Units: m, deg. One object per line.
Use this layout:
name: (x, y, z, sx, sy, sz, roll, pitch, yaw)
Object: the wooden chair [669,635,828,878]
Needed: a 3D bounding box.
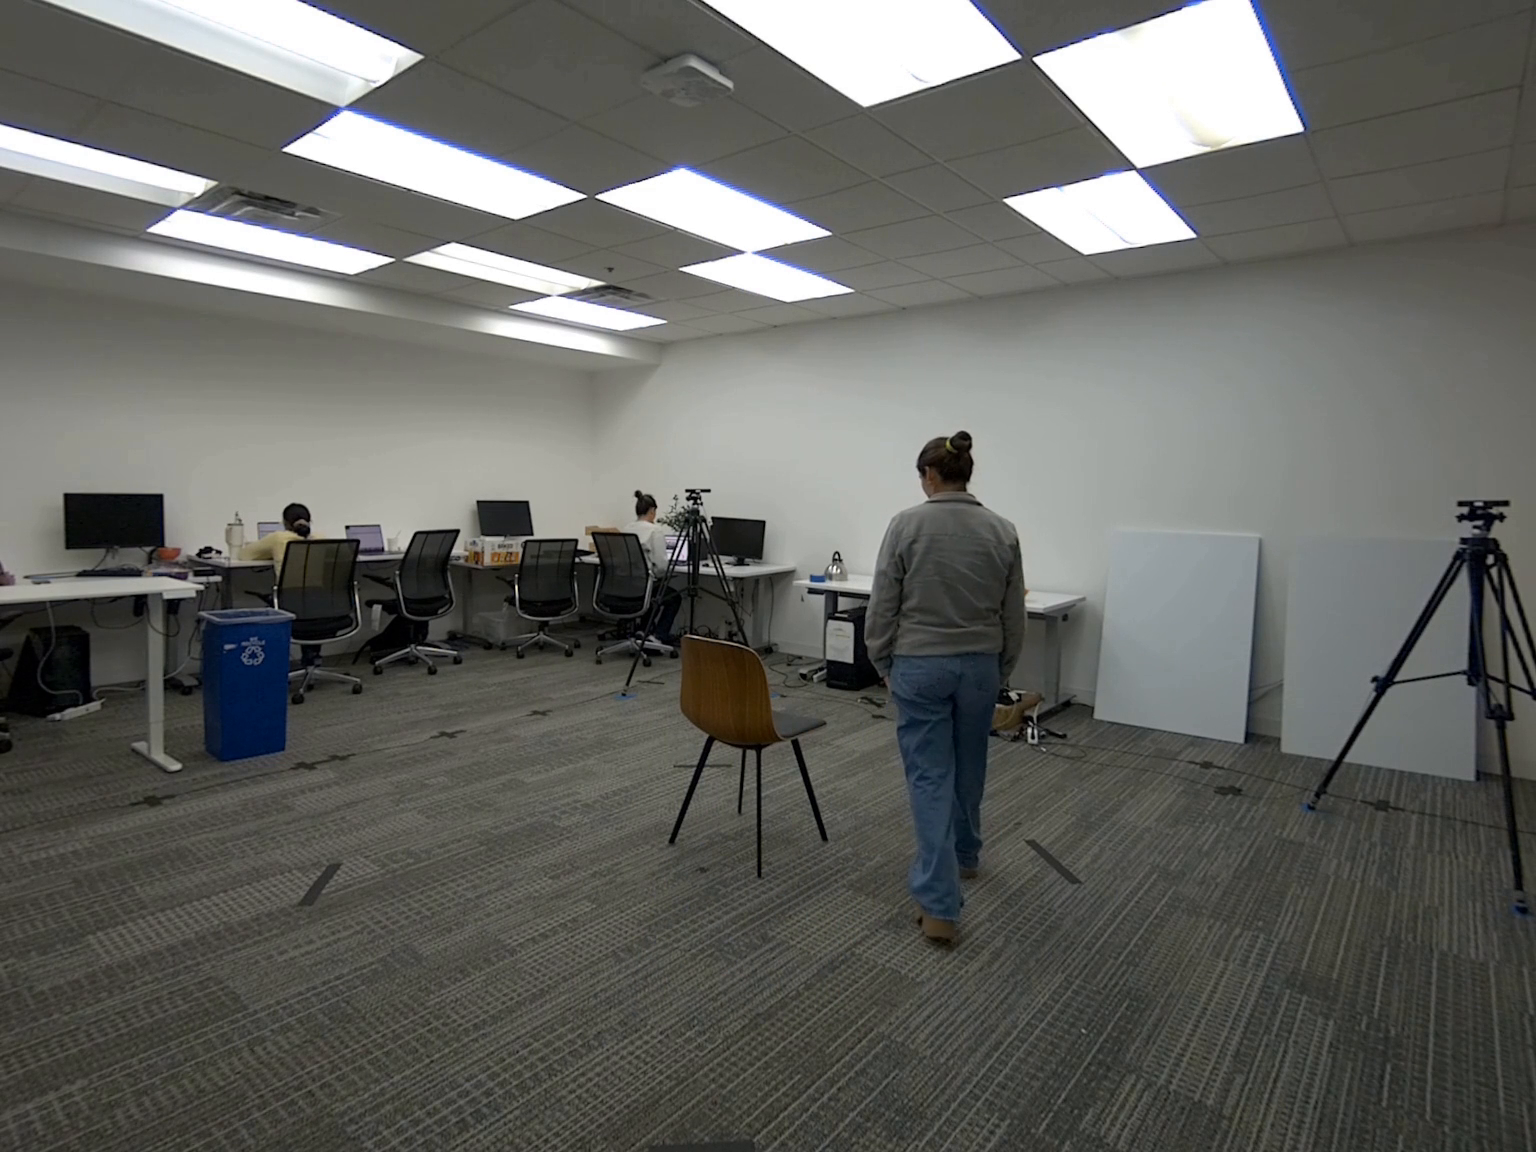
wooden chair: (-0.073, 0.625, 3.348, 0.494, 0.872, 0.509, 3, 8, 38)
